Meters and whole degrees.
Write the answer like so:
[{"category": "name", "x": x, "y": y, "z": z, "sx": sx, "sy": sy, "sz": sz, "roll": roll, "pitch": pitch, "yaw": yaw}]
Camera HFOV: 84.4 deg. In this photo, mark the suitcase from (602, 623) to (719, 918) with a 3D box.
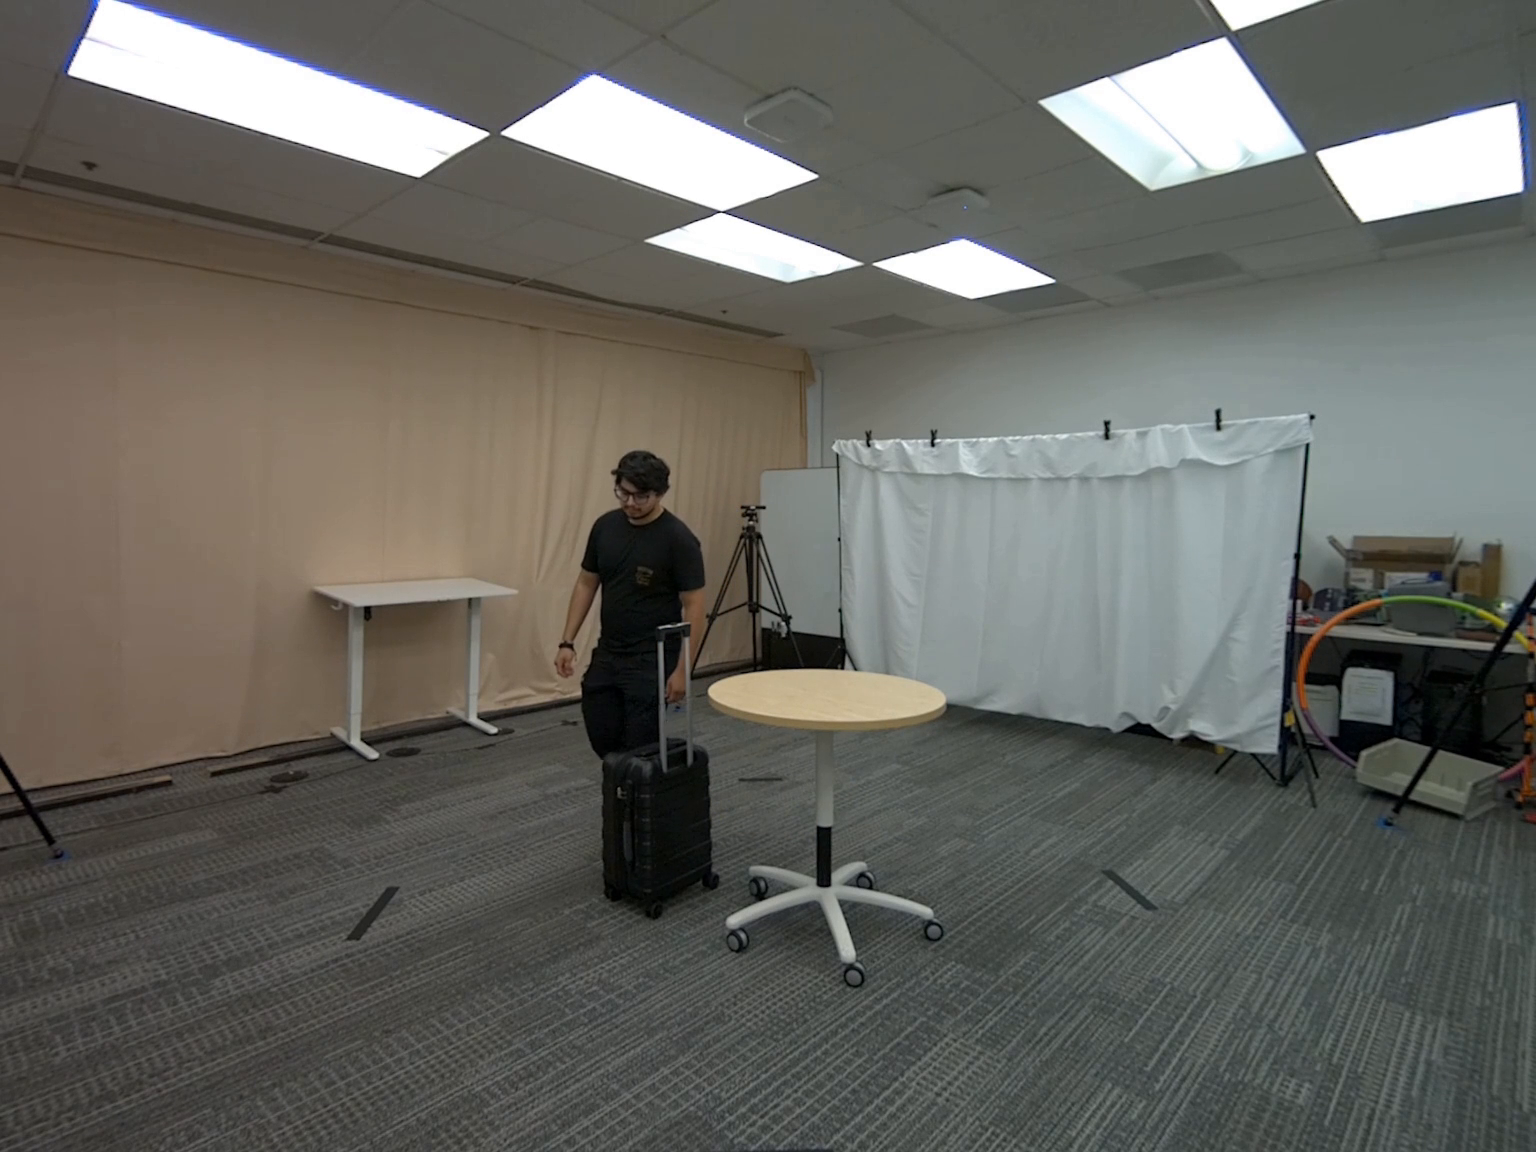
[{"category": "suitcase", "x": -0.398, "y": 0.664, "z": 2.997, "sx": 0.265, "sy": 0.977, "sz": 0.373, "roll": -1, "pitch": 3, "yaw": 35}]
